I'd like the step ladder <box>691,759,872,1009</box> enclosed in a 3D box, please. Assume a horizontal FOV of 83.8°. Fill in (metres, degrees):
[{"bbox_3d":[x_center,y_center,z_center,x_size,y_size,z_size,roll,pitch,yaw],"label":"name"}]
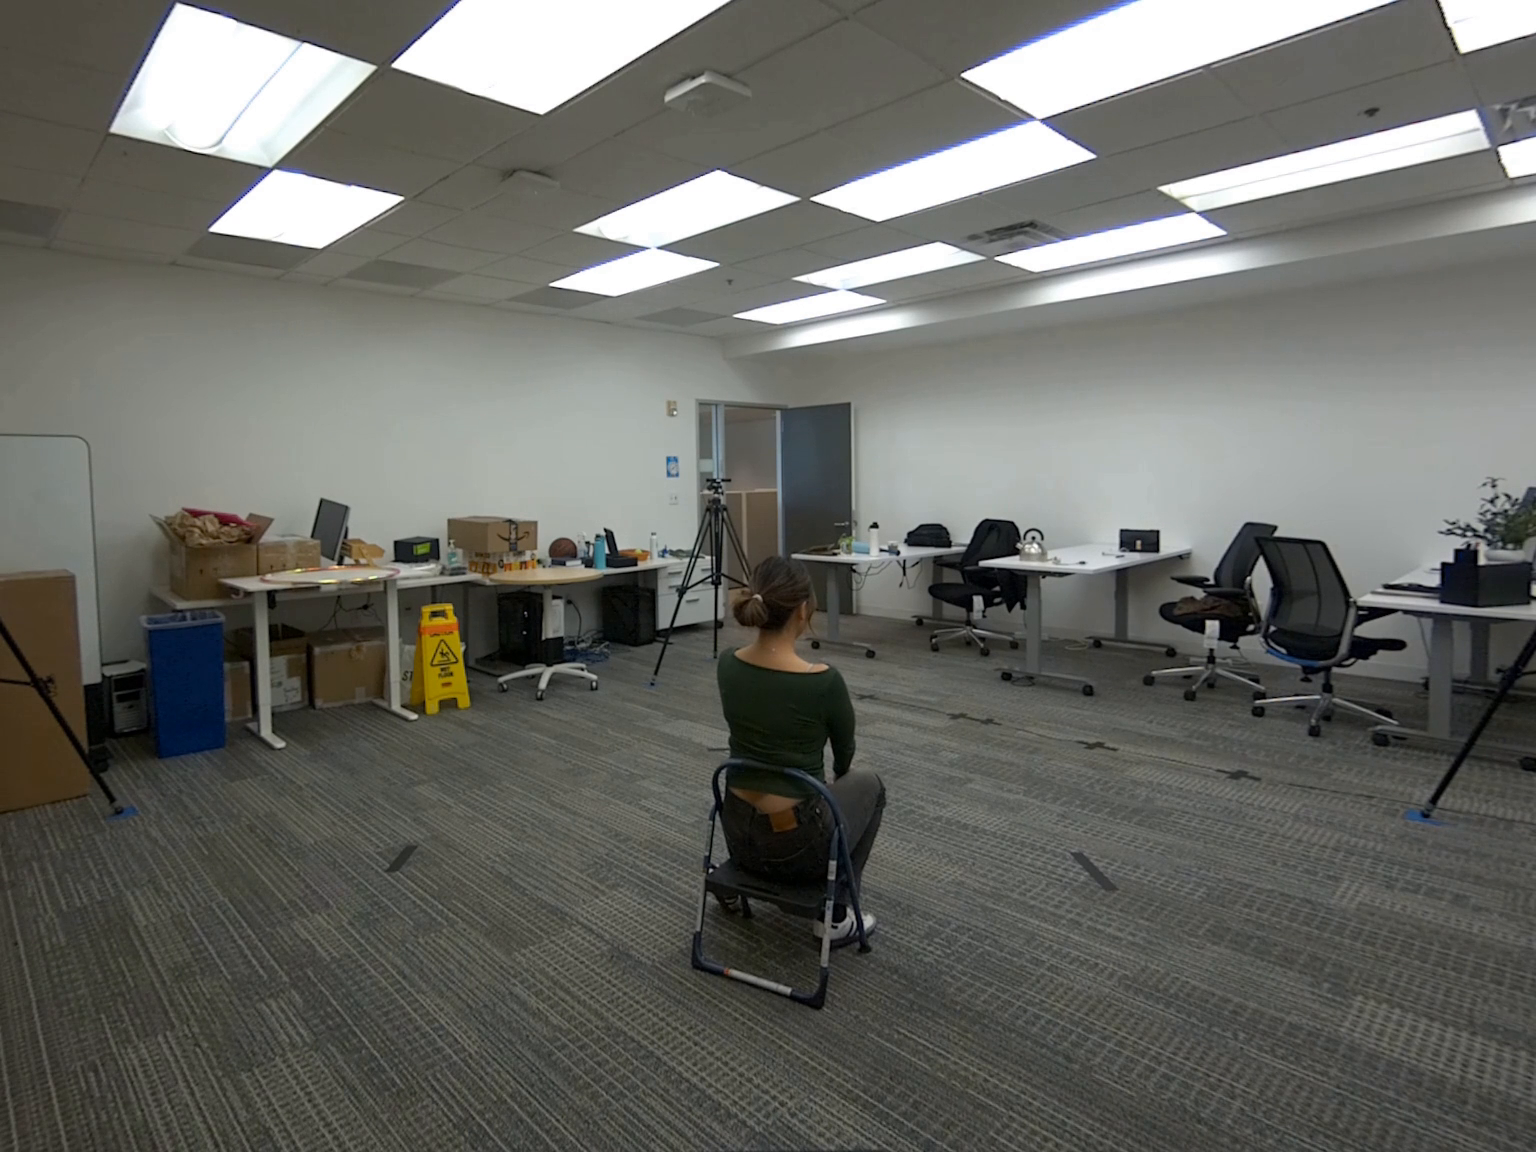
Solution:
[{"bbox_3d":[0.033,0.824,2.467,0.442,0.603,0.342,1,5,29],"label":"step ladder"}]
